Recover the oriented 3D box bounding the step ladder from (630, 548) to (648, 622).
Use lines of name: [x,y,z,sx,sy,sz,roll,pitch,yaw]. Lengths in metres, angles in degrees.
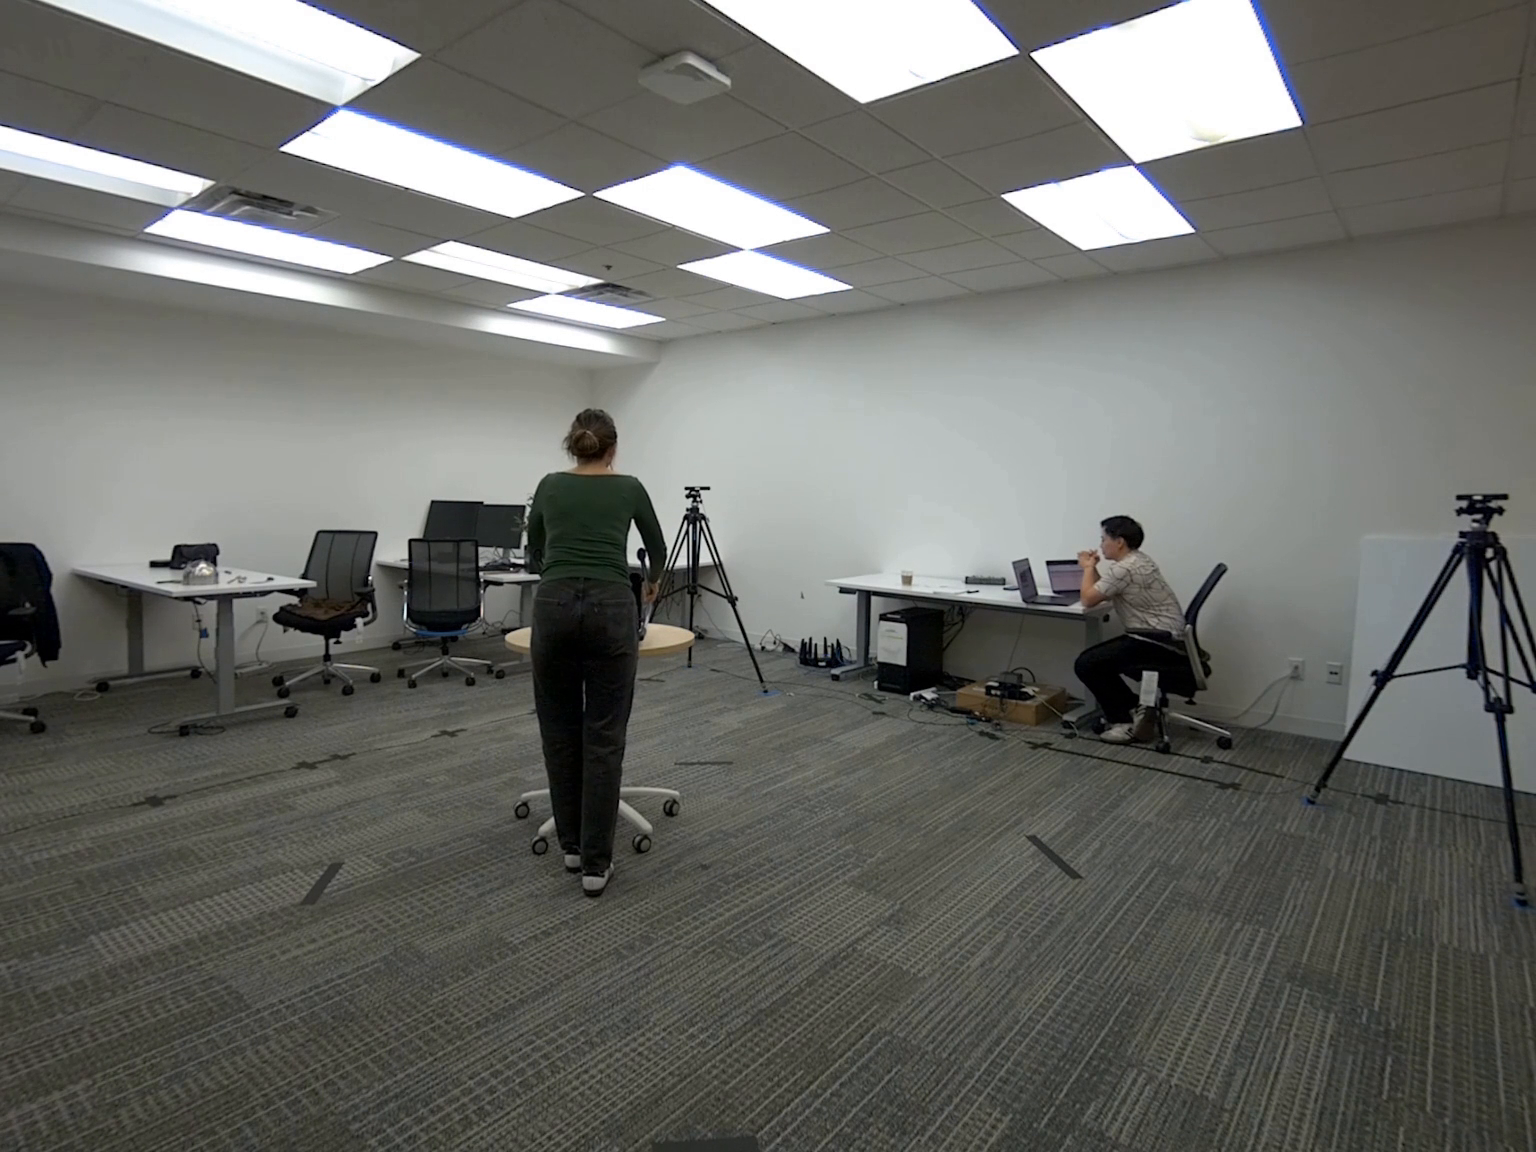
step ladder: [-0.714,0.085,3.523,0.430,0.351,0.604,1,-3,-1]
